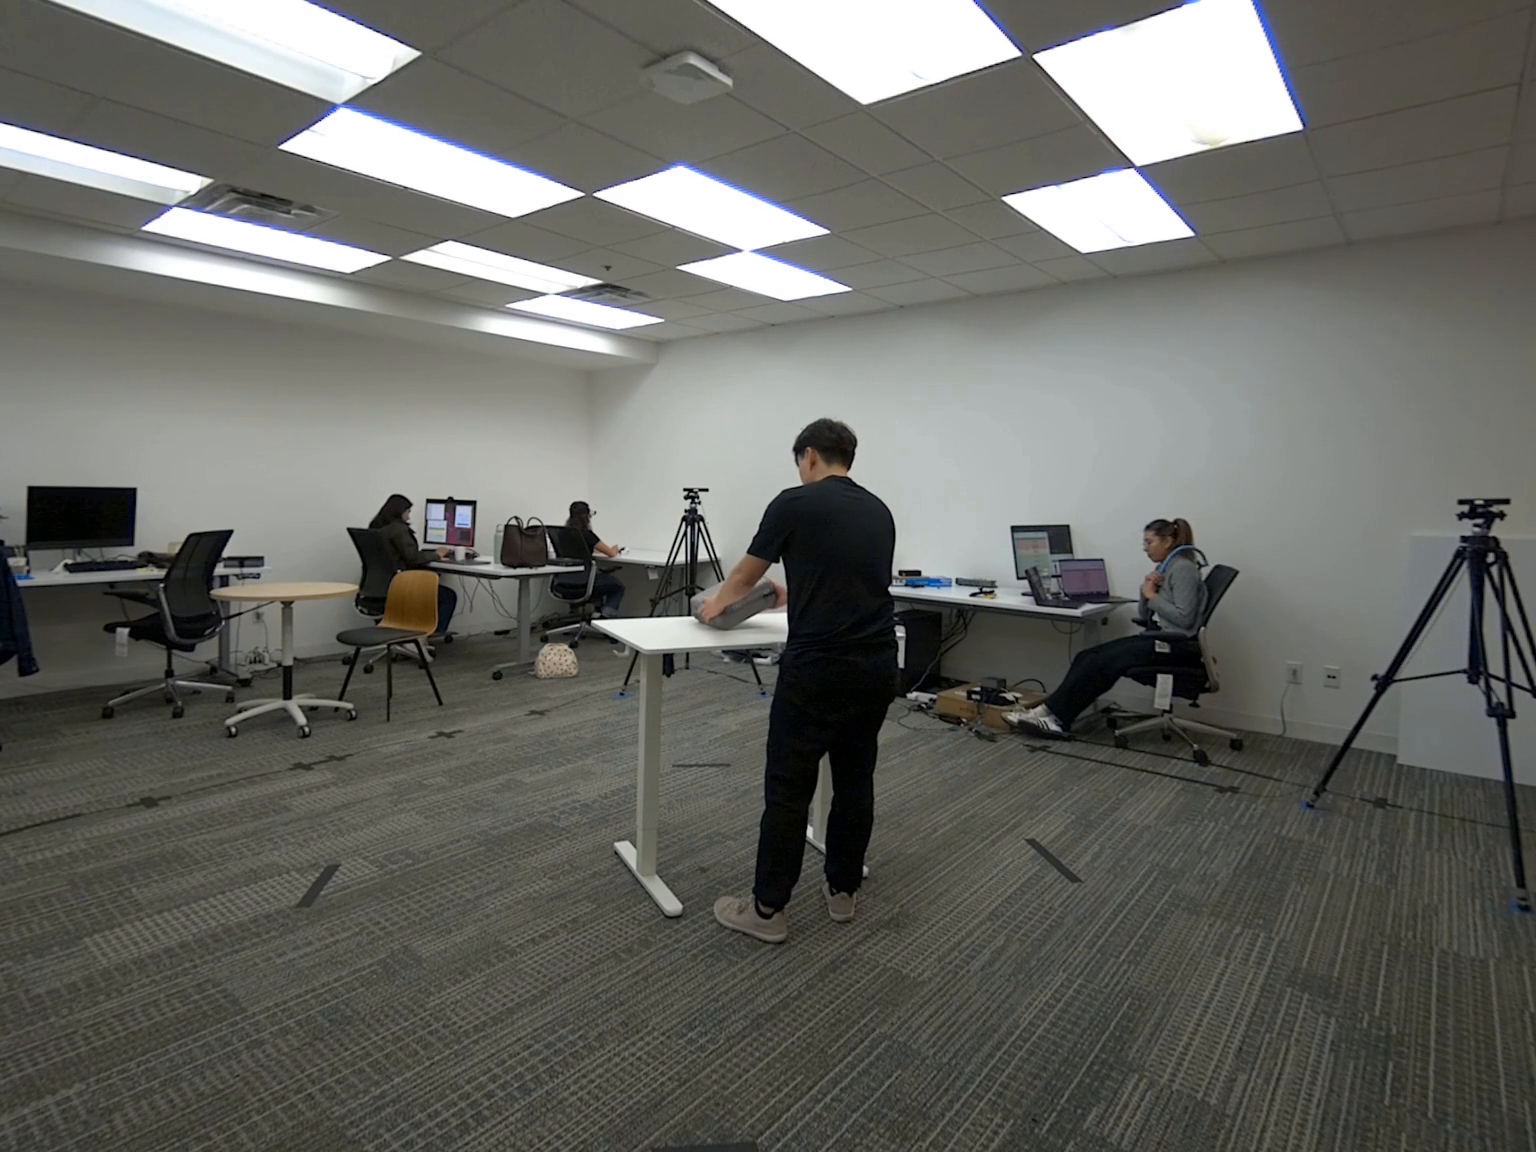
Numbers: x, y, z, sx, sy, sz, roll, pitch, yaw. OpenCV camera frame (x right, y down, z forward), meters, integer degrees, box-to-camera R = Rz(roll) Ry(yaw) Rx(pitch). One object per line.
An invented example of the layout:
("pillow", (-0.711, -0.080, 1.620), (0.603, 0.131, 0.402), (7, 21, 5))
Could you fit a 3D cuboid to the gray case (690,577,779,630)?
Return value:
("gray case", (-0.151, 0.087, 3.184), (0.254, 0.102, 0.268), (-25, 17, -19))
